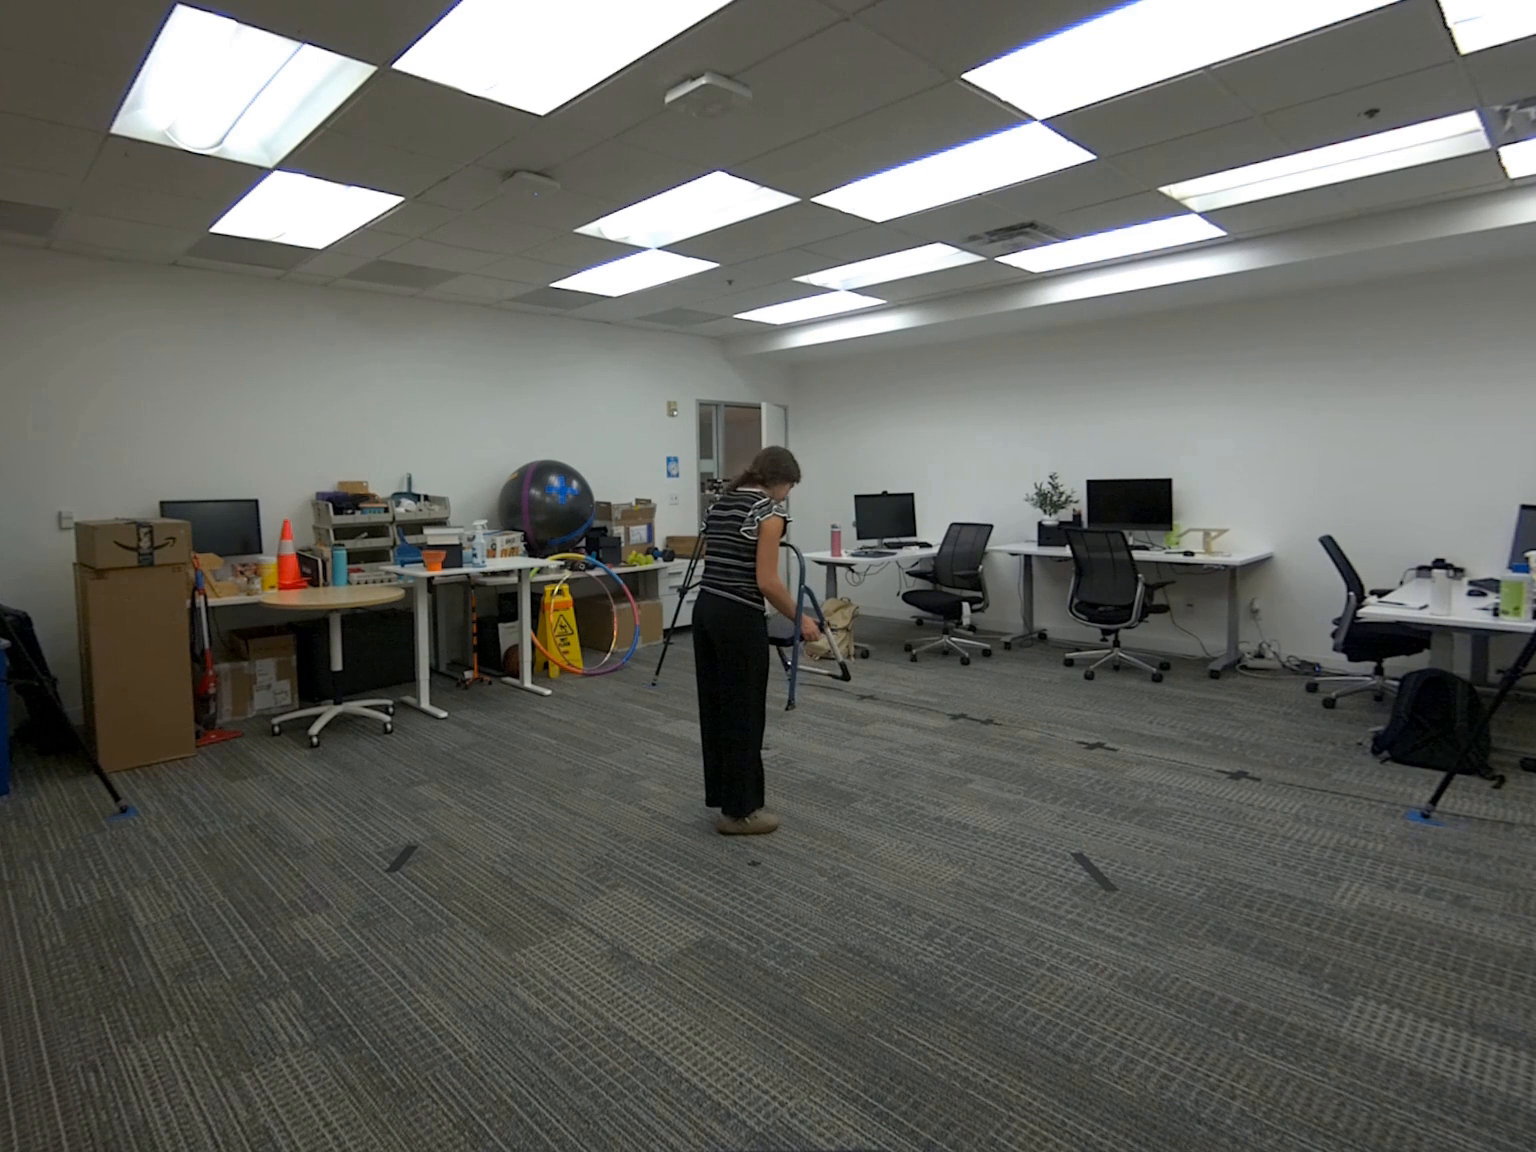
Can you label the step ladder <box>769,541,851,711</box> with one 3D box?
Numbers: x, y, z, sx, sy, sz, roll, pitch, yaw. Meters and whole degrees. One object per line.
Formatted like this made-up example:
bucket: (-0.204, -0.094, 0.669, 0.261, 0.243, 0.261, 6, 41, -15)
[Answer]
step ladder: (0.030, 0.174, 3.507, 0.343, 0.600, 0.443, -18, 12, -36)
